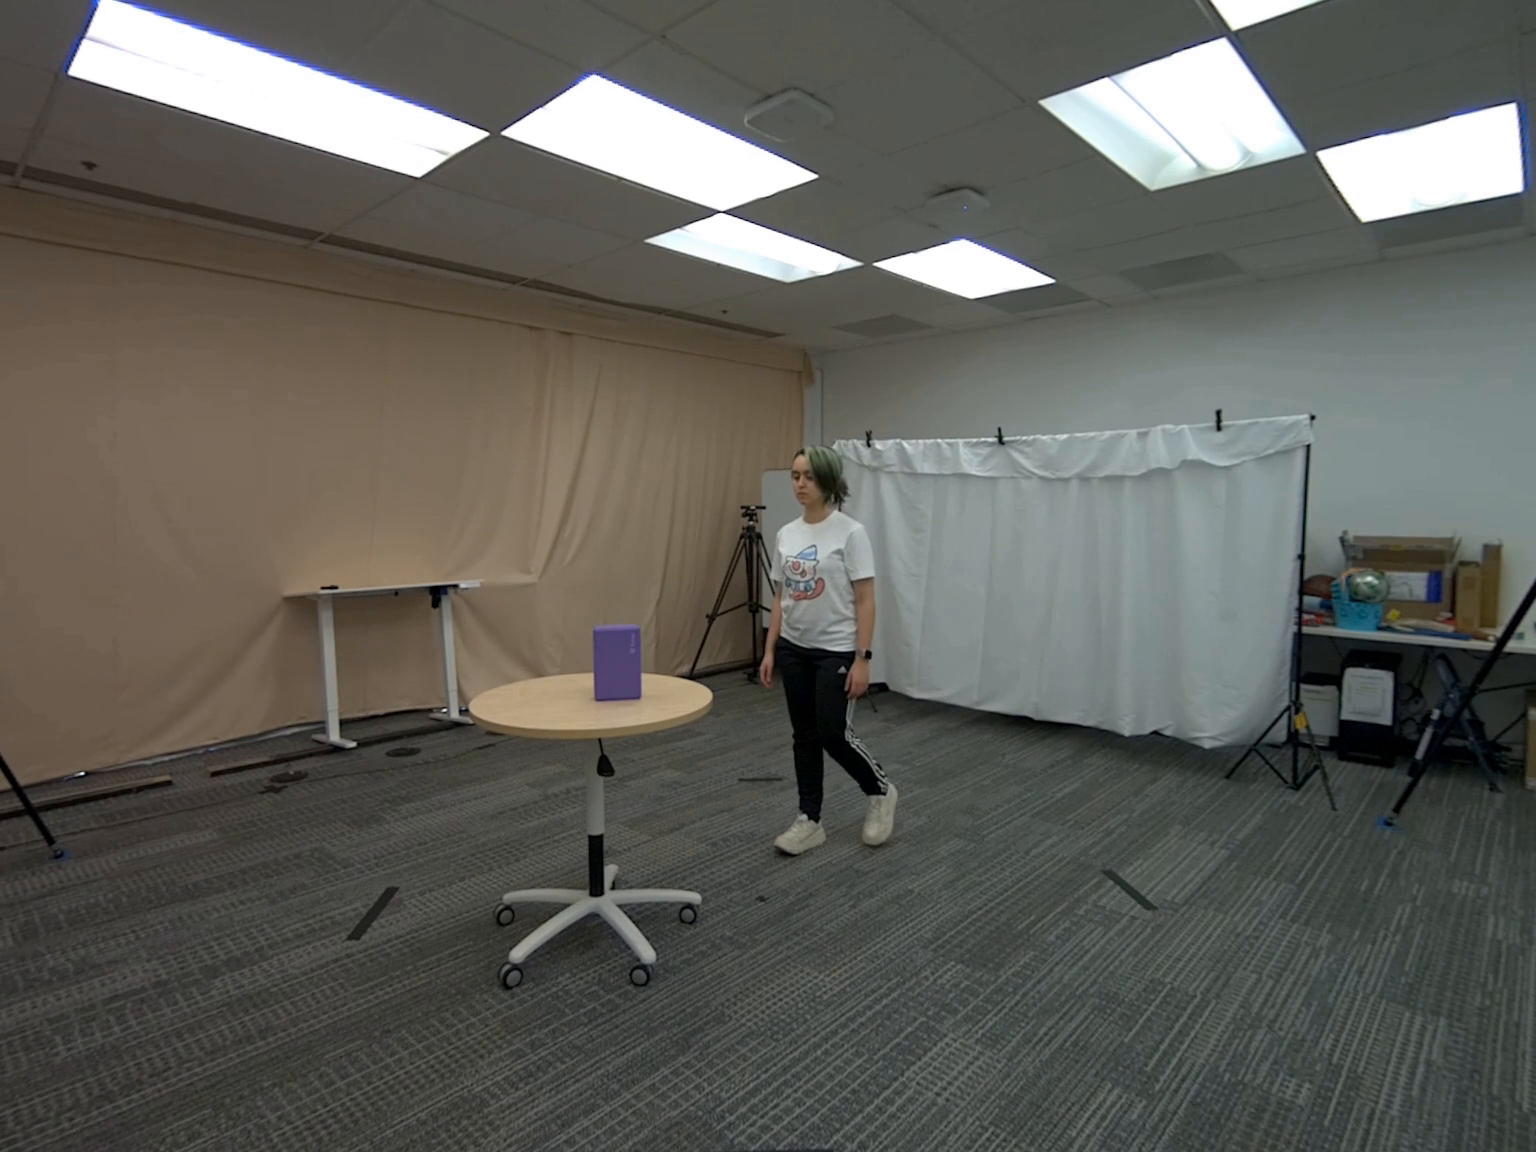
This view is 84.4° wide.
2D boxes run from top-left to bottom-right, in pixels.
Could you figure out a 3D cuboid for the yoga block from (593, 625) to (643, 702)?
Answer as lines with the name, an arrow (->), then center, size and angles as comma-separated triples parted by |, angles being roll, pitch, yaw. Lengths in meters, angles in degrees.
yoga block -> -0.482, 0.277, 2.666 | 0.148, 0.229, 0.077 | -4, 3, -5
